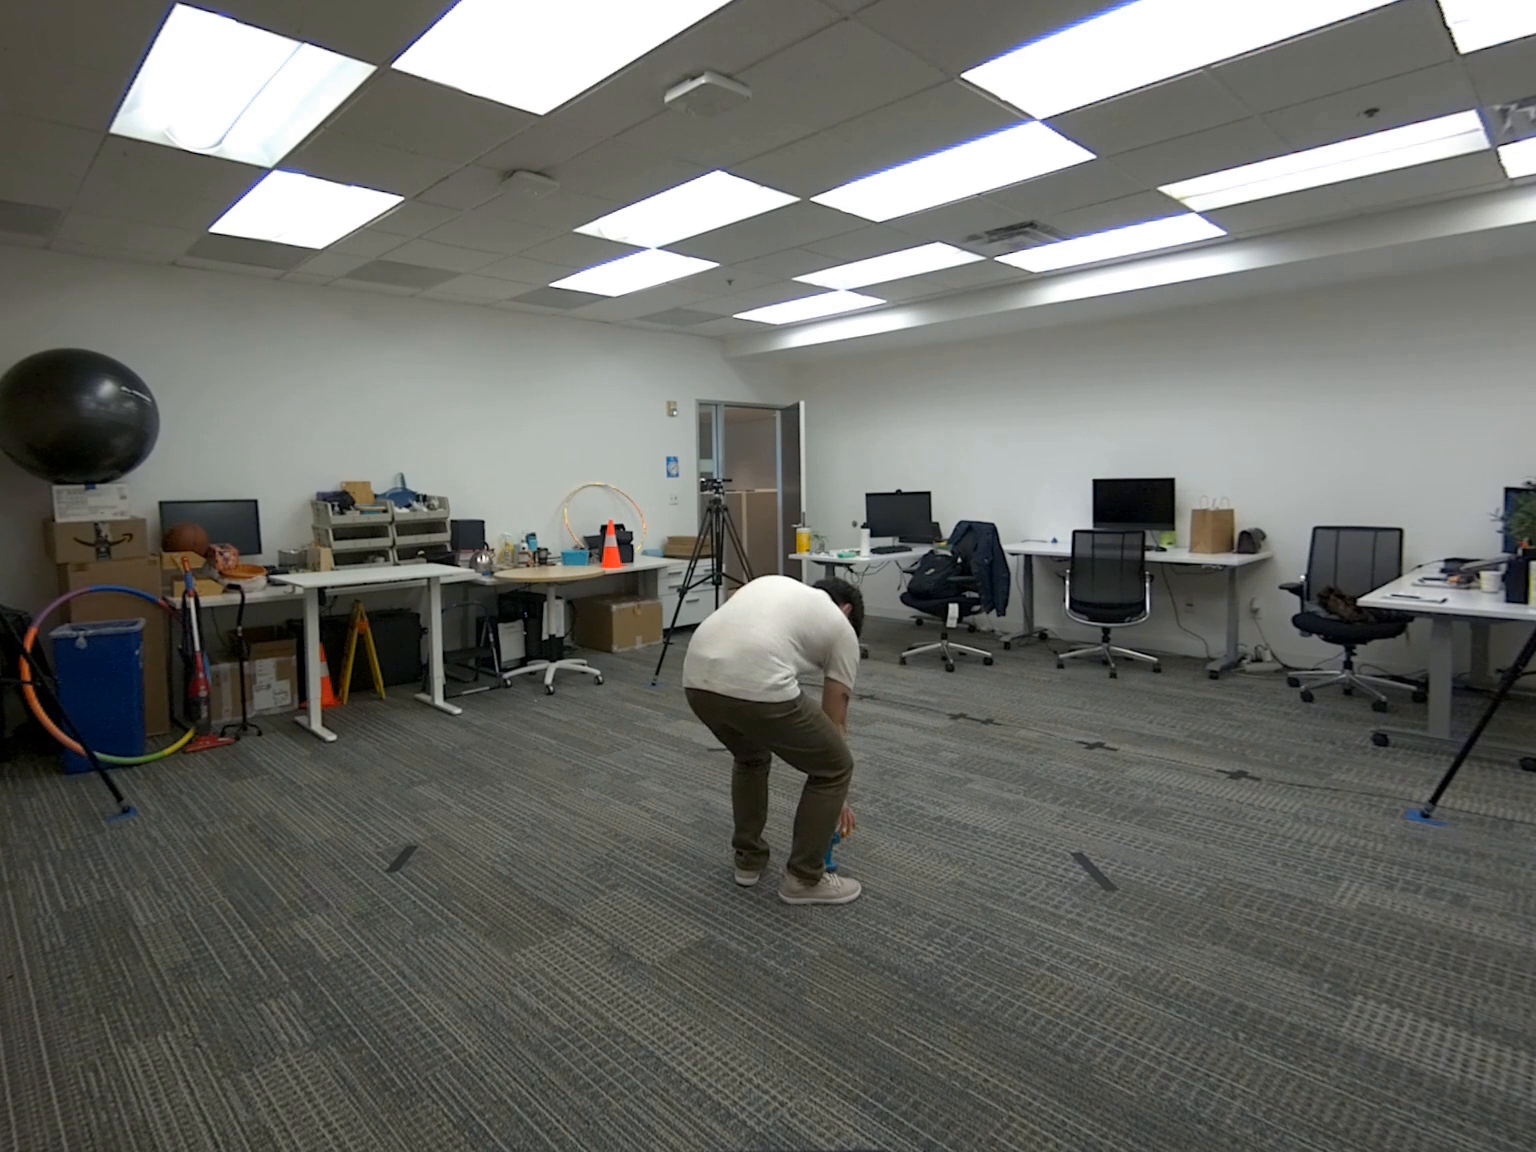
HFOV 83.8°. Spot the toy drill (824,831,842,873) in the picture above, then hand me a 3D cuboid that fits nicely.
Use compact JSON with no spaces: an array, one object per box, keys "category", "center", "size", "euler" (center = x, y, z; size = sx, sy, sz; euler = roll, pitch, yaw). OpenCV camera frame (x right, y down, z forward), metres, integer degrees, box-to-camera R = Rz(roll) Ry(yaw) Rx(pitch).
[{"category":"toy drill","center":[0.251,0.967,3.067],"size":[0.165,0.146,0.062],"euler":[0,-1,-30]}]
